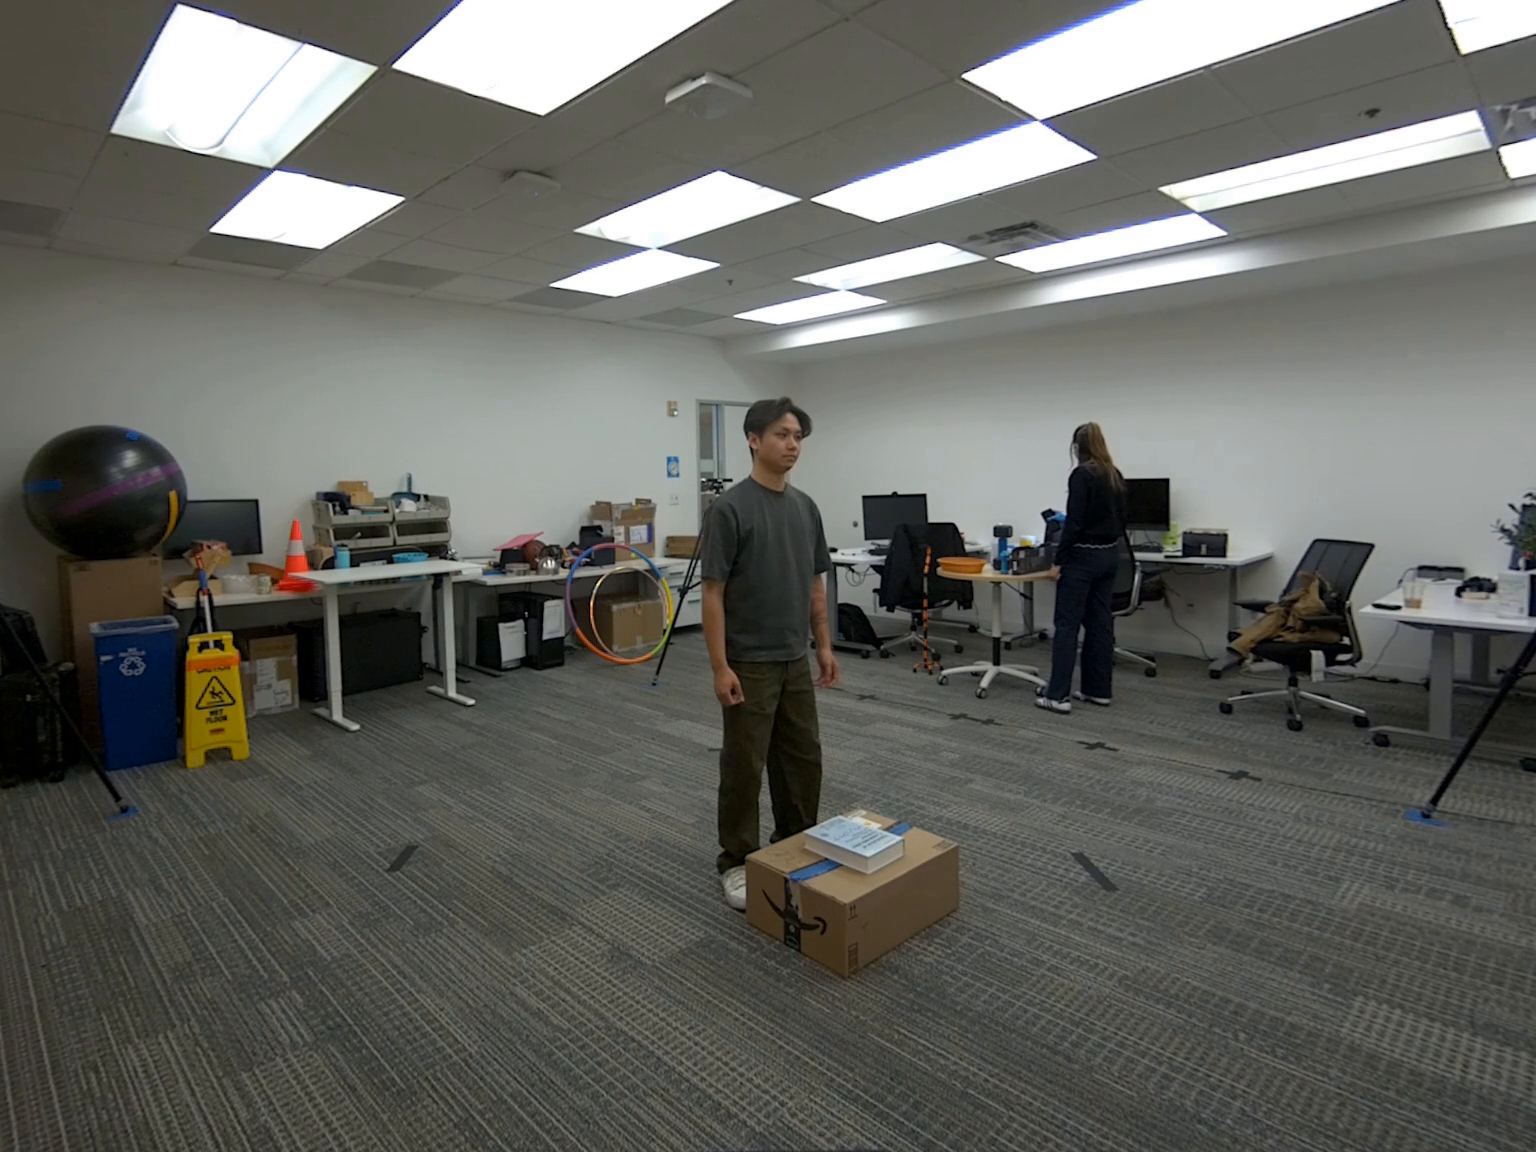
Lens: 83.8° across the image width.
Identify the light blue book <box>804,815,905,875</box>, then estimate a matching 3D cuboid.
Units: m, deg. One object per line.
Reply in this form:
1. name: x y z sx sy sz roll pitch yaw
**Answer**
1. light blue book: 0.277 0.846 2.706 0.186 0.059 0.269 -8 9 -44
